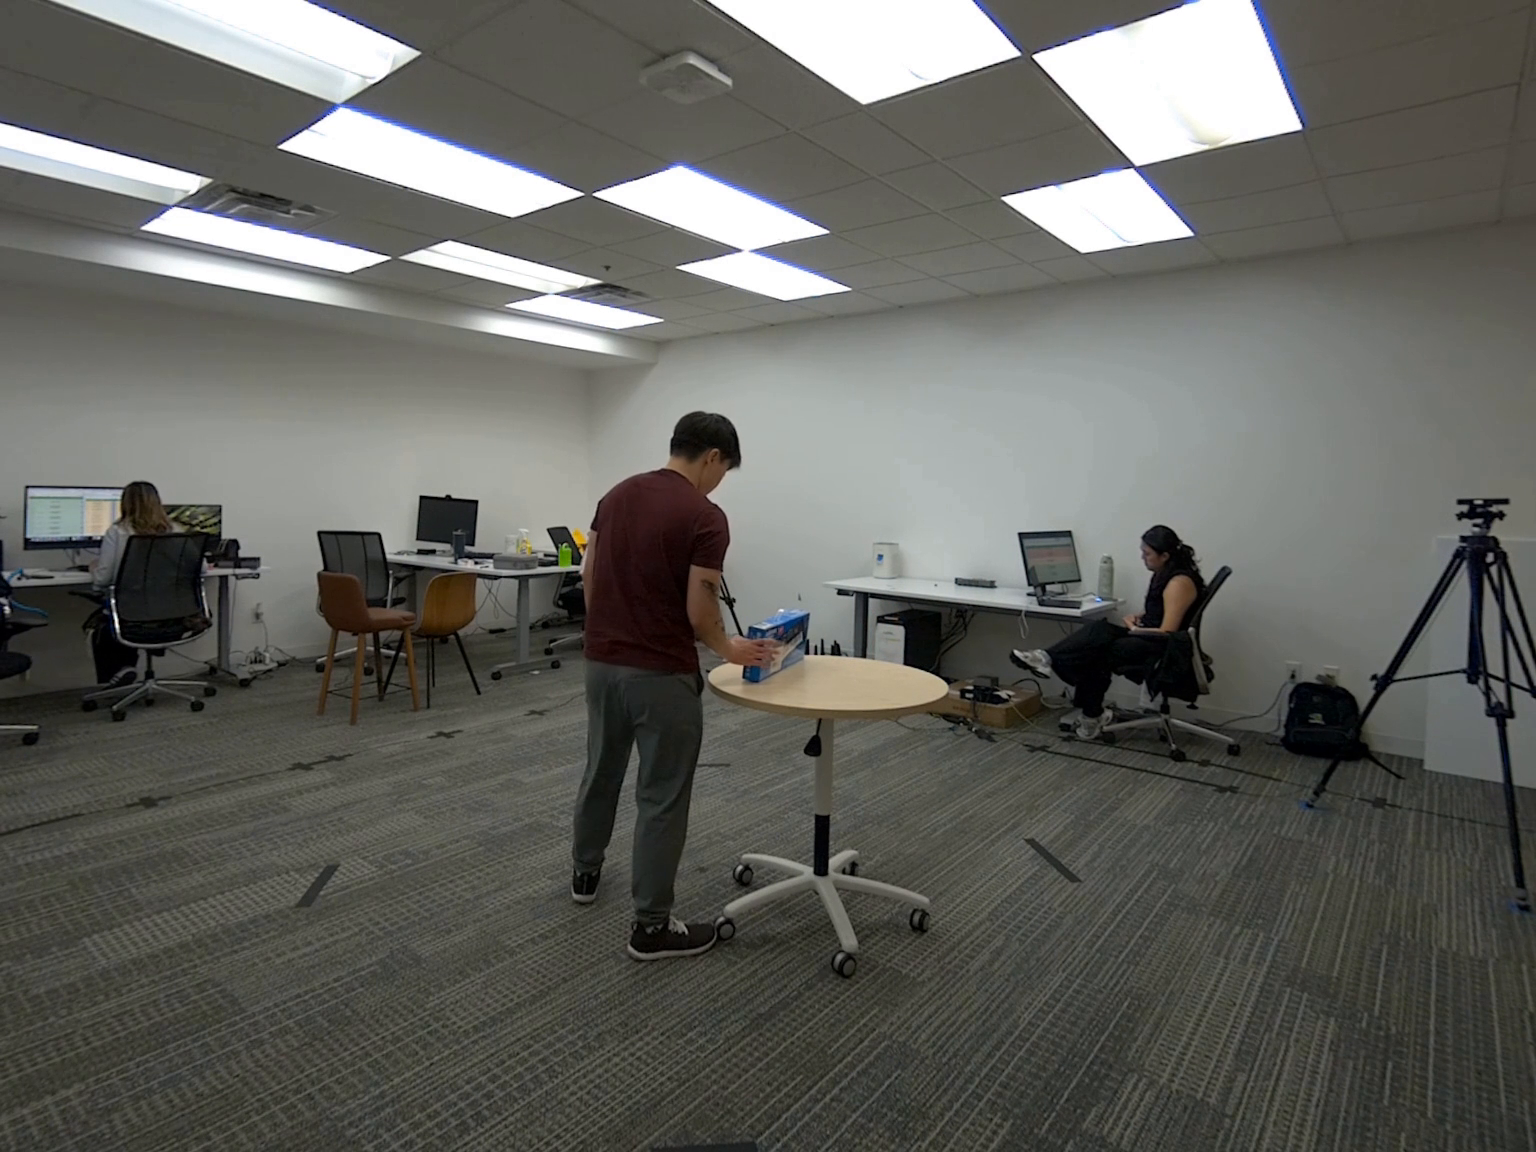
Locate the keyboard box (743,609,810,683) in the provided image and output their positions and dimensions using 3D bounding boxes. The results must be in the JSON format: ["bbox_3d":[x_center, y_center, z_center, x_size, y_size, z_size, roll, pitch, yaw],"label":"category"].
[{"bbox_3d":[0.025,0.227,2.881,0.060,0.175,0.428,8,8,22],"label":"keyboard box"}]
